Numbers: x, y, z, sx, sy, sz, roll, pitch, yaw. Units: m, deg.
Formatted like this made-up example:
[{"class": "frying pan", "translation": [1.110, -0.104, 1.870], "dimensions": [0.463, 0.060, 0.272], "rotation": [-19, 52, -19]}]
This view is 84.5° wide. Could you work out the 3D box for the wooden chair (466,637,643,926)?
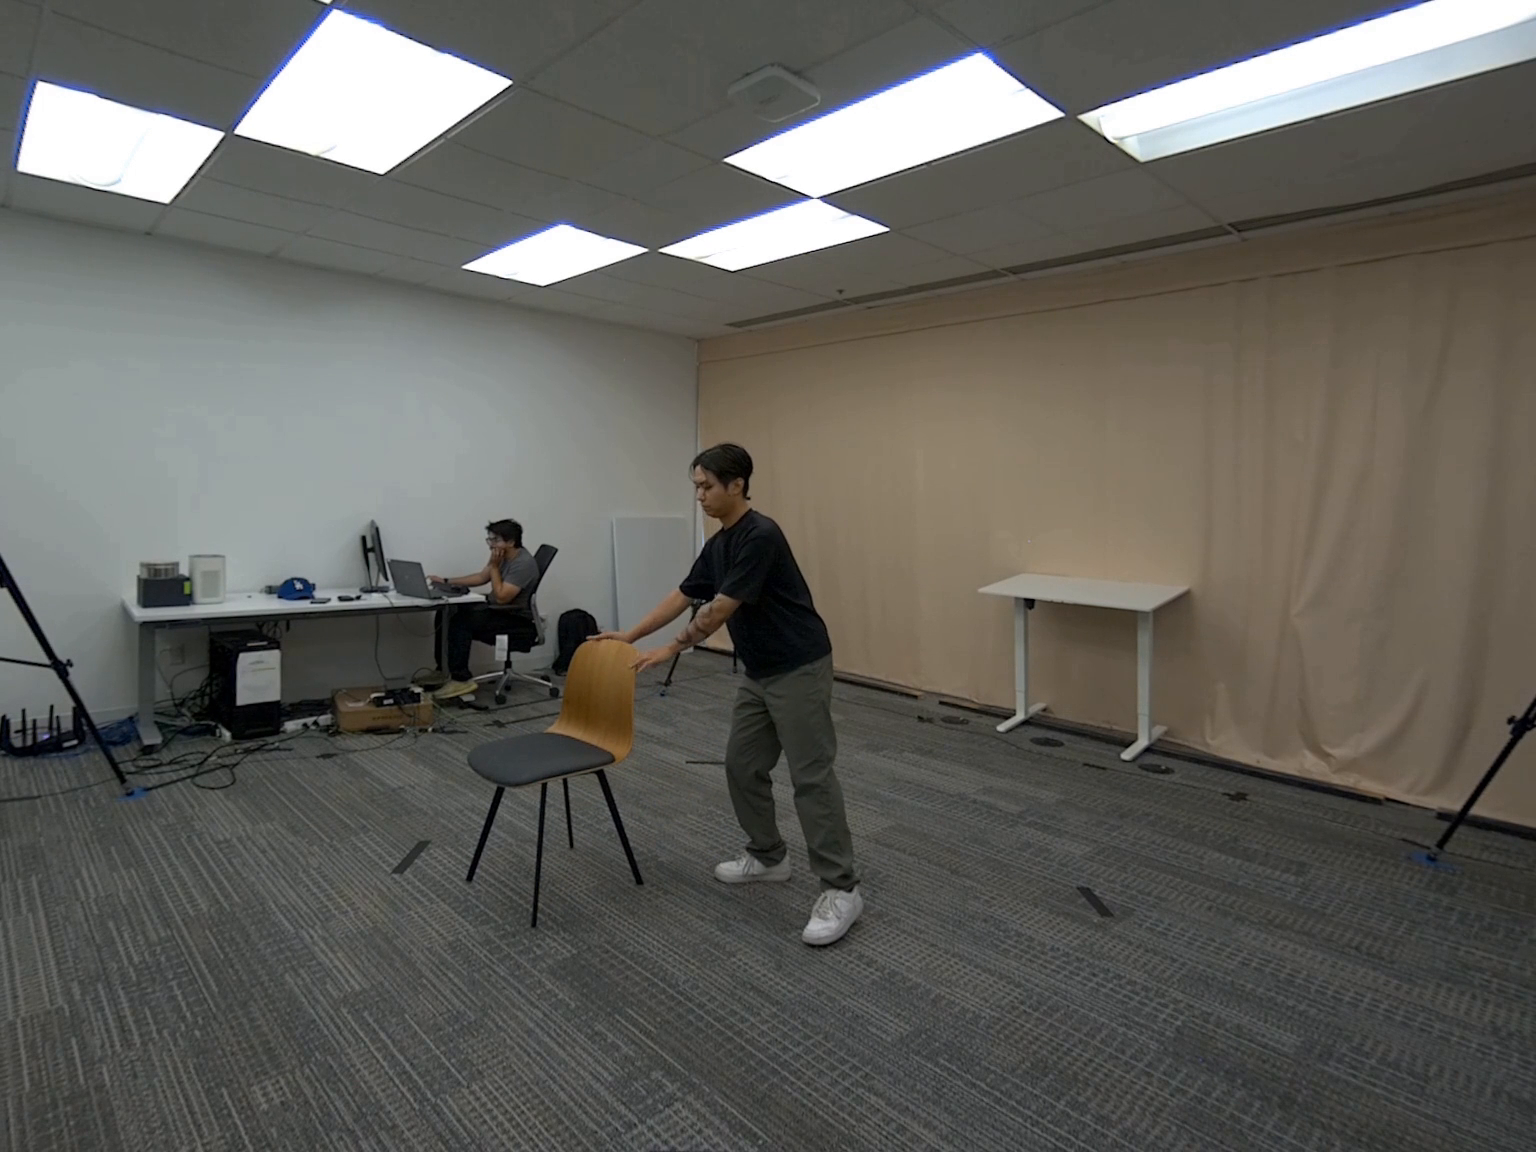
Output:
[{"class": "wooden chair", "translation": [-0.759, 0.673, 2.980], "dimensions": [0.490, 0.877, 0.510], "rotation": [5, 1, 43]}]
